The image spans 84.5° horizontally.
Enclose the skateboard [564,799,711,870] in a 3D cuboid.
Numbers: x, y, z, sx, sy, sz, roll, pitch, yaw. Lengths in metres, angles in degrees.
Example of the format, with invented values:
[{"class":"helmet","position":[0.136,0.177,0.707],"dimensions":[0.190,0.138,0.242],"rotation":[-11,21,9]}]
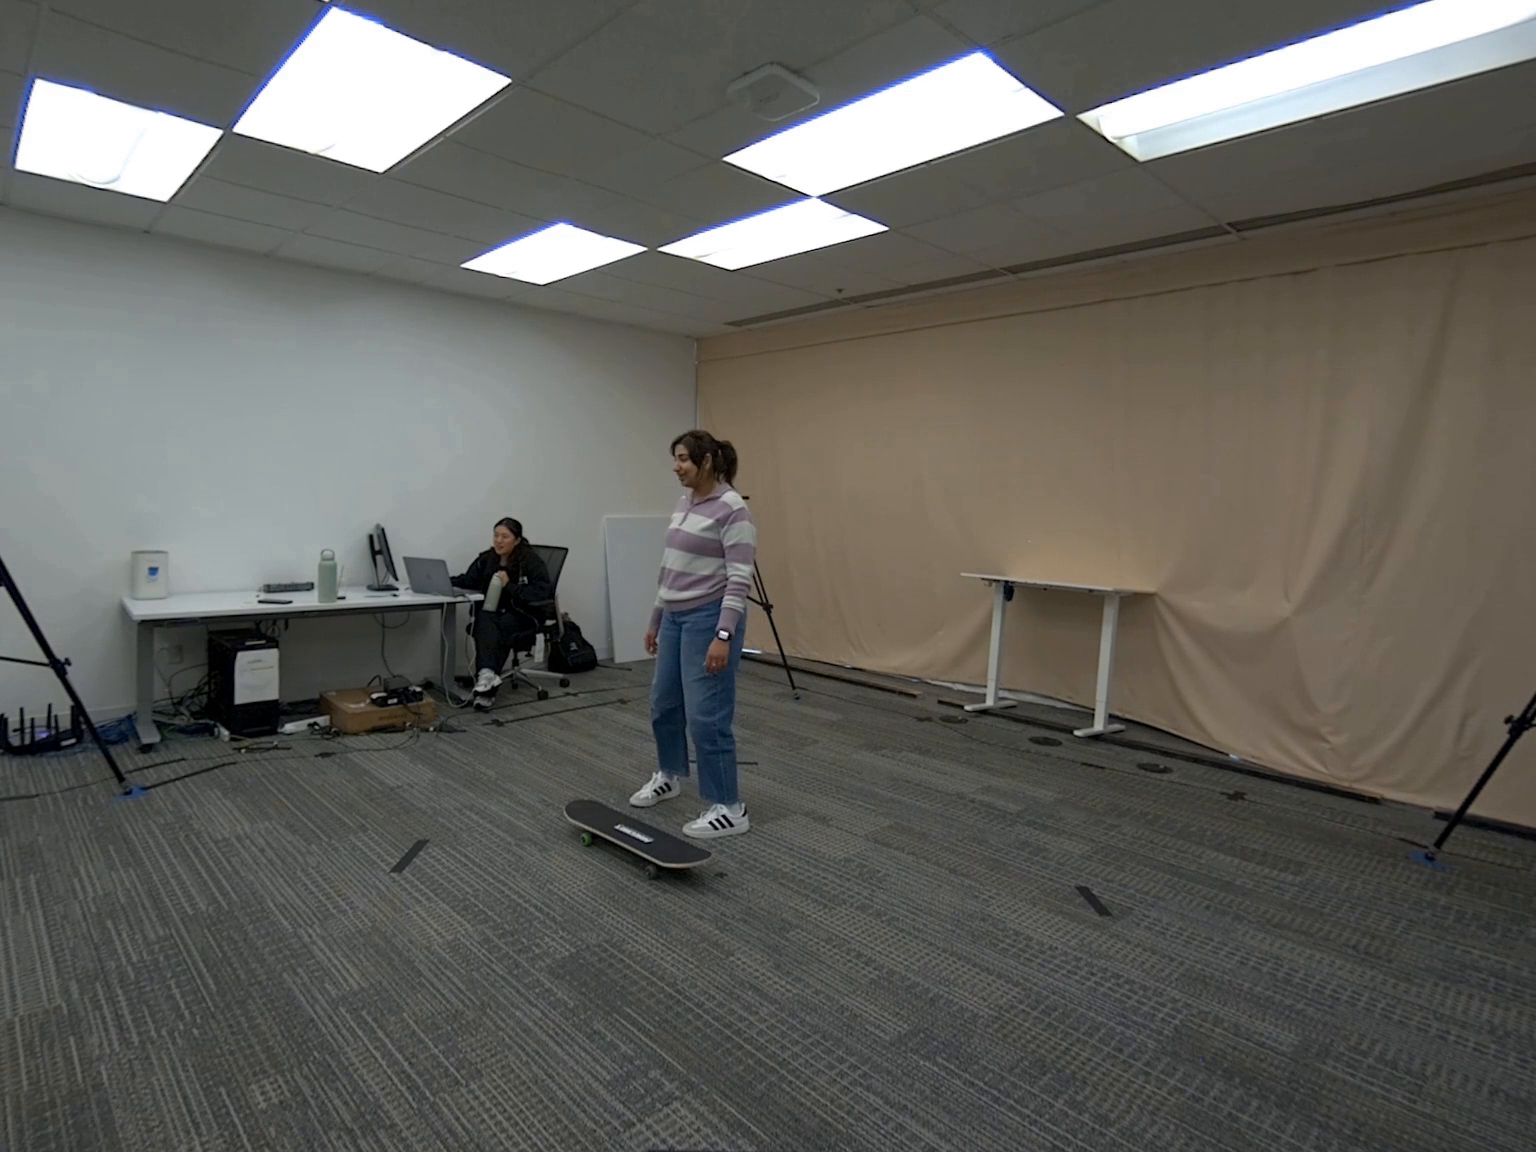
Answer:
[{"class":"skateboard","position":[-0.527,1.027,3.257],"dimensions":[0.806,0.110,0.189],"rotation":[7,6,43]}]
